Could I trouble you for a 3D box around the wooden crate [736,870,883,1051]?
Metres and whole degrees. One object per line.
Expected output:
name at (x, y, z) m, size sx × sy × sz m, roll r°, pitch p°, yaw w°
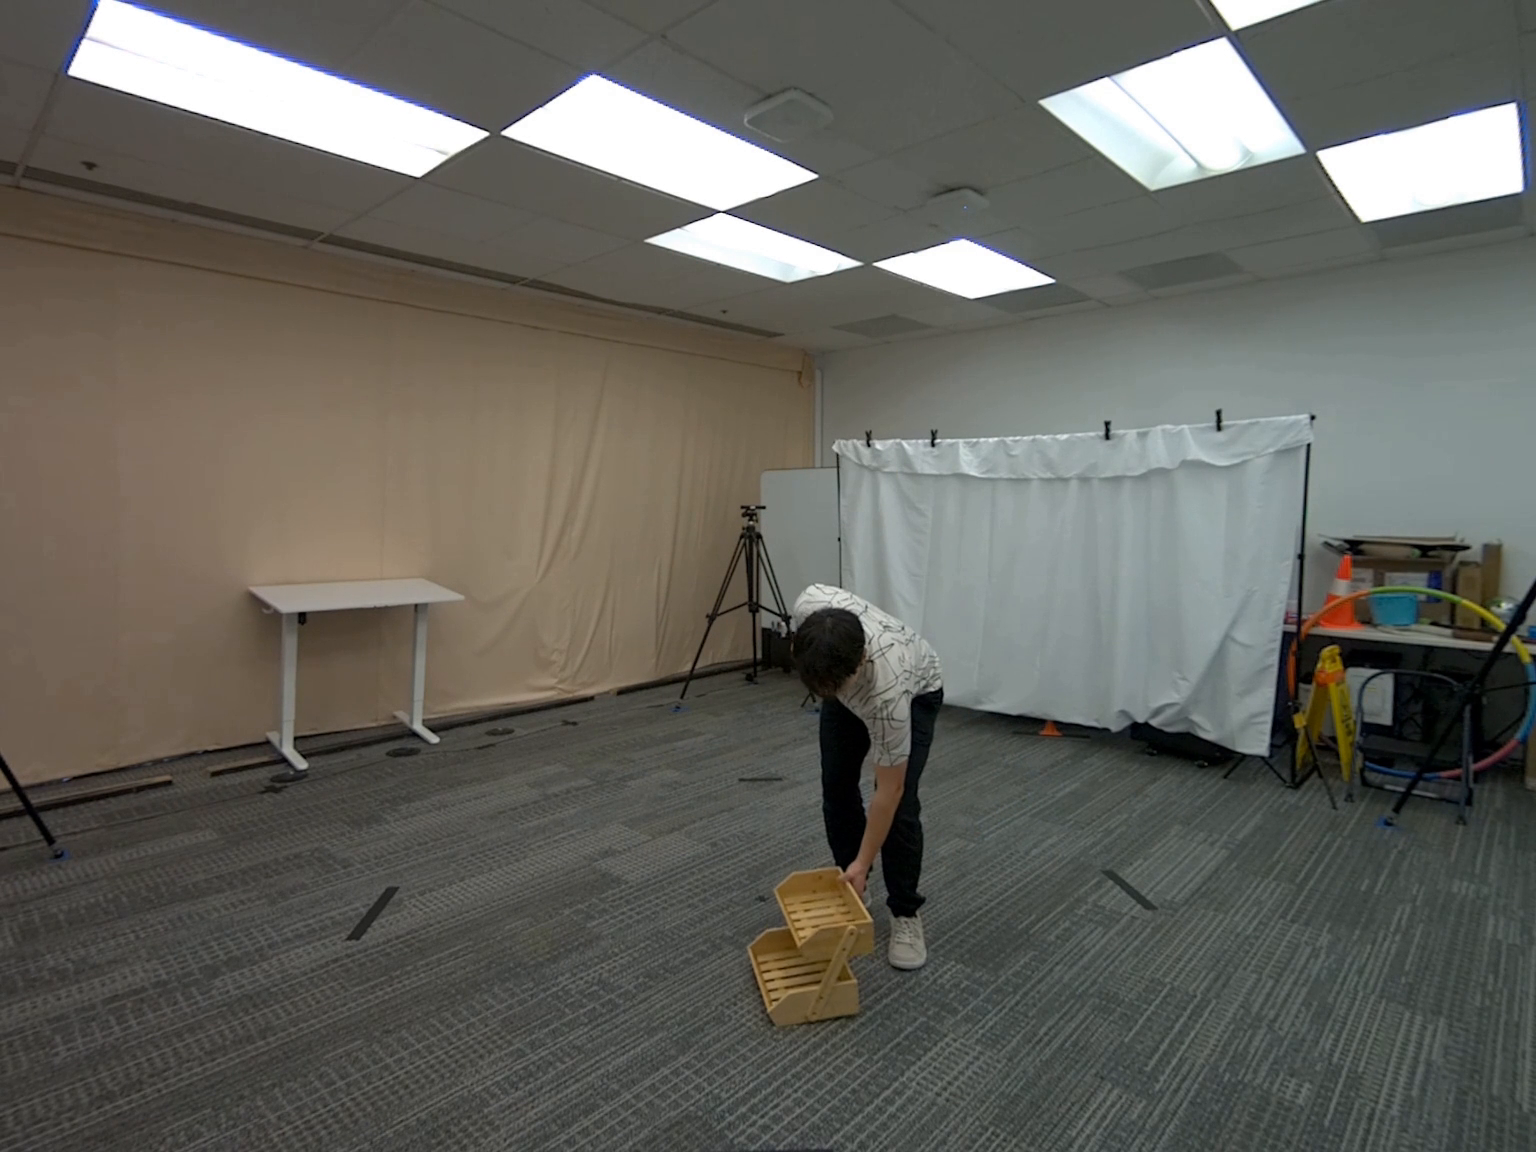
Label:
wooden crate at (0.105, 1.055, 2.365) m, size 0.298 × 0.272 × 0.330 m, roll -7°, pitch 9°, yaw -12°
